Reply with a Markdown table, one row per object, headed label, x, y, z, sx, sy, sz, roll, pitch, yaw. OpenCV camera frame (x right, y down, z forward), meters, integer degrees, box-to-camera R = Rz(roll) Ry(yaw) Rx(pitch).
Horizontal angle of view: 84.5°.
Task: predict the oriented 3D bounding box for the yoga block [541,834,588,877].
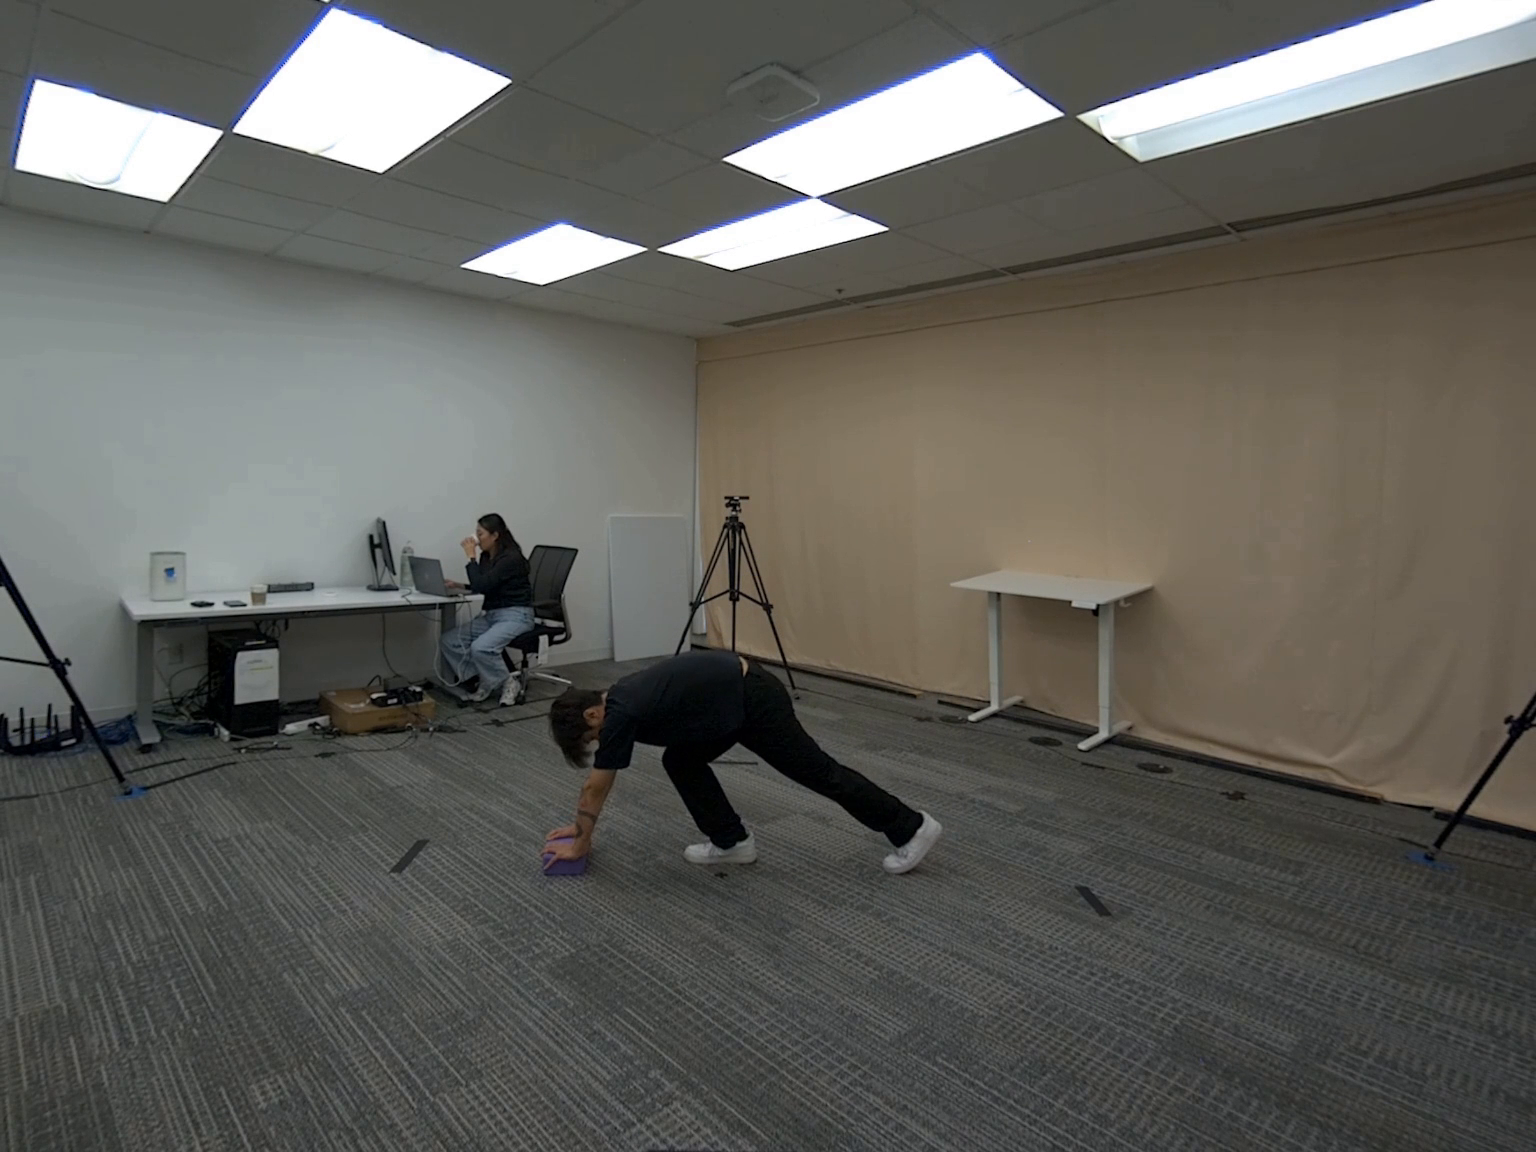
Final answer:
| label | x | y | z | sx | sy | sz | roll | pitch | yaw |
| --- | --- | --- | --- | --- | --- | --- | --- | --- | --- |
| yoga block | -0.763 | 1.043 | 3.178 | 0.148 | 0.076 | 0.231 | 0 | 7 | -5 |
